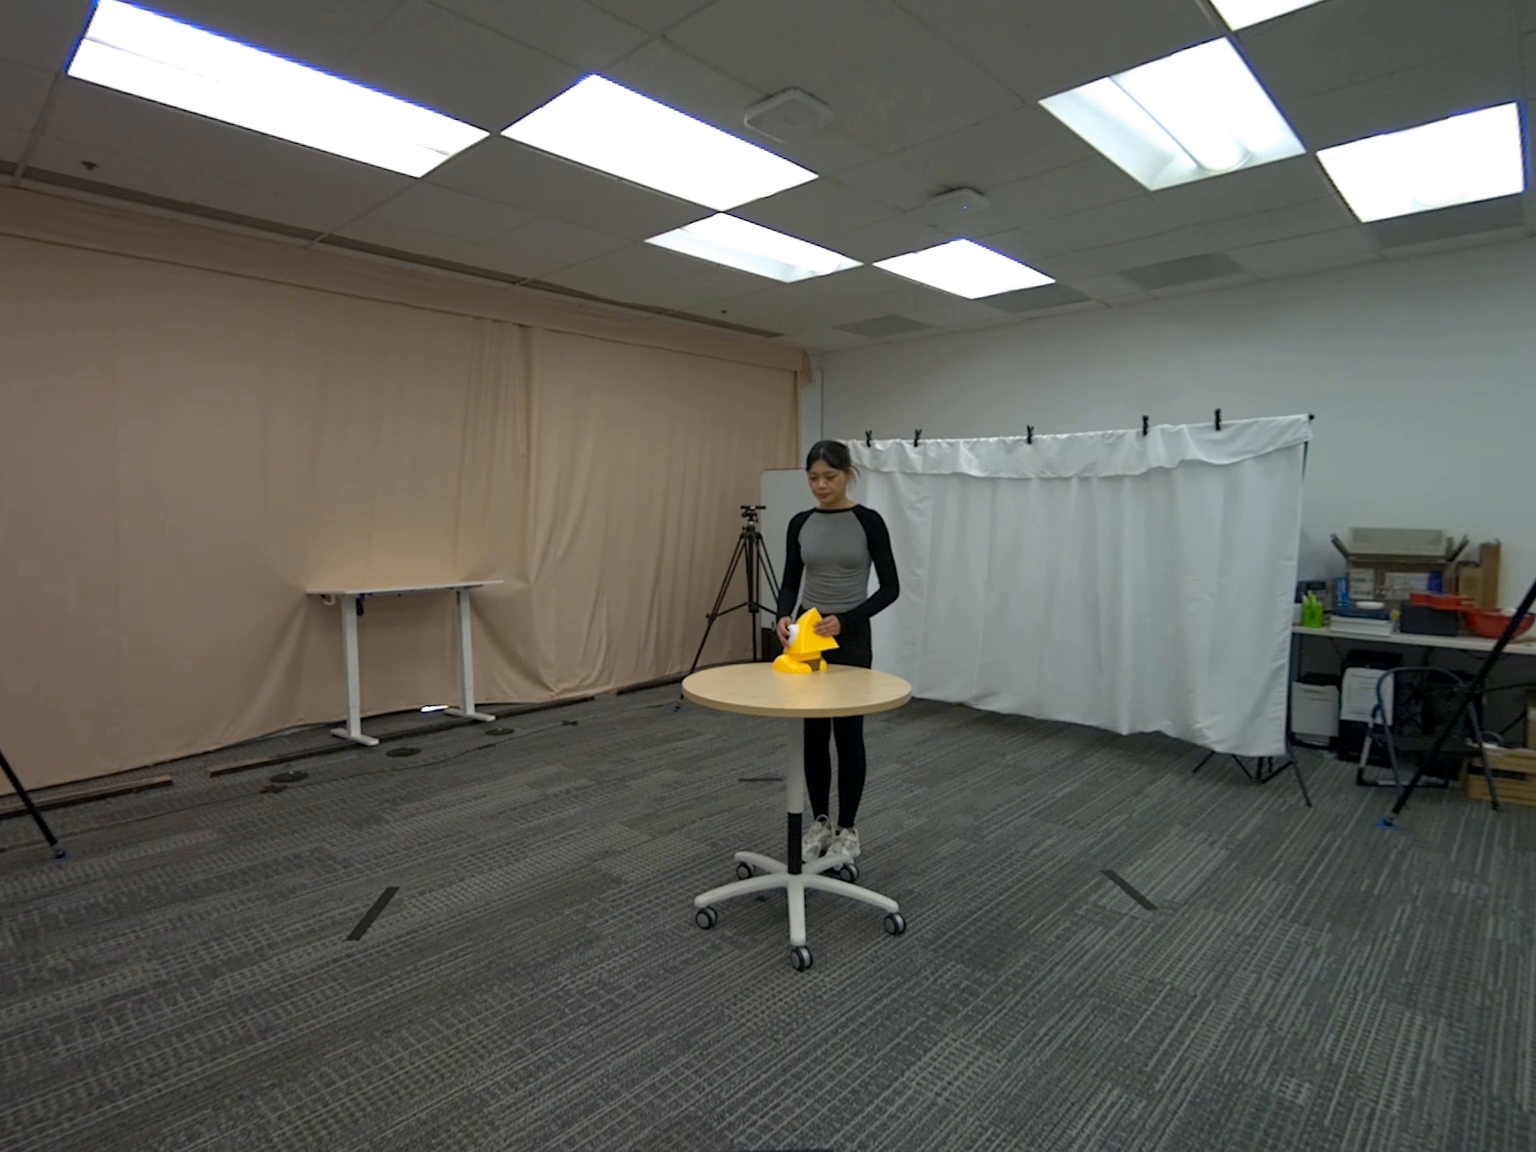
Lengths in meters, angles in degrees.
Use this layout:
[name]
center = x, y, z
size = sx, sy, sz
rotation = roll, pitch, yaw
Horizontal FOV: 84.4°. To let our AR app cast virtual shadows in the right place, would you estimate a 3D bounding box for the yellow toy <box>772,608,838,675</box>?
[yellow toy]
center = 0.129, 0.232, 3.102
size = 0.198, 0.230, 0.199
rotation = -3, 5, -43
